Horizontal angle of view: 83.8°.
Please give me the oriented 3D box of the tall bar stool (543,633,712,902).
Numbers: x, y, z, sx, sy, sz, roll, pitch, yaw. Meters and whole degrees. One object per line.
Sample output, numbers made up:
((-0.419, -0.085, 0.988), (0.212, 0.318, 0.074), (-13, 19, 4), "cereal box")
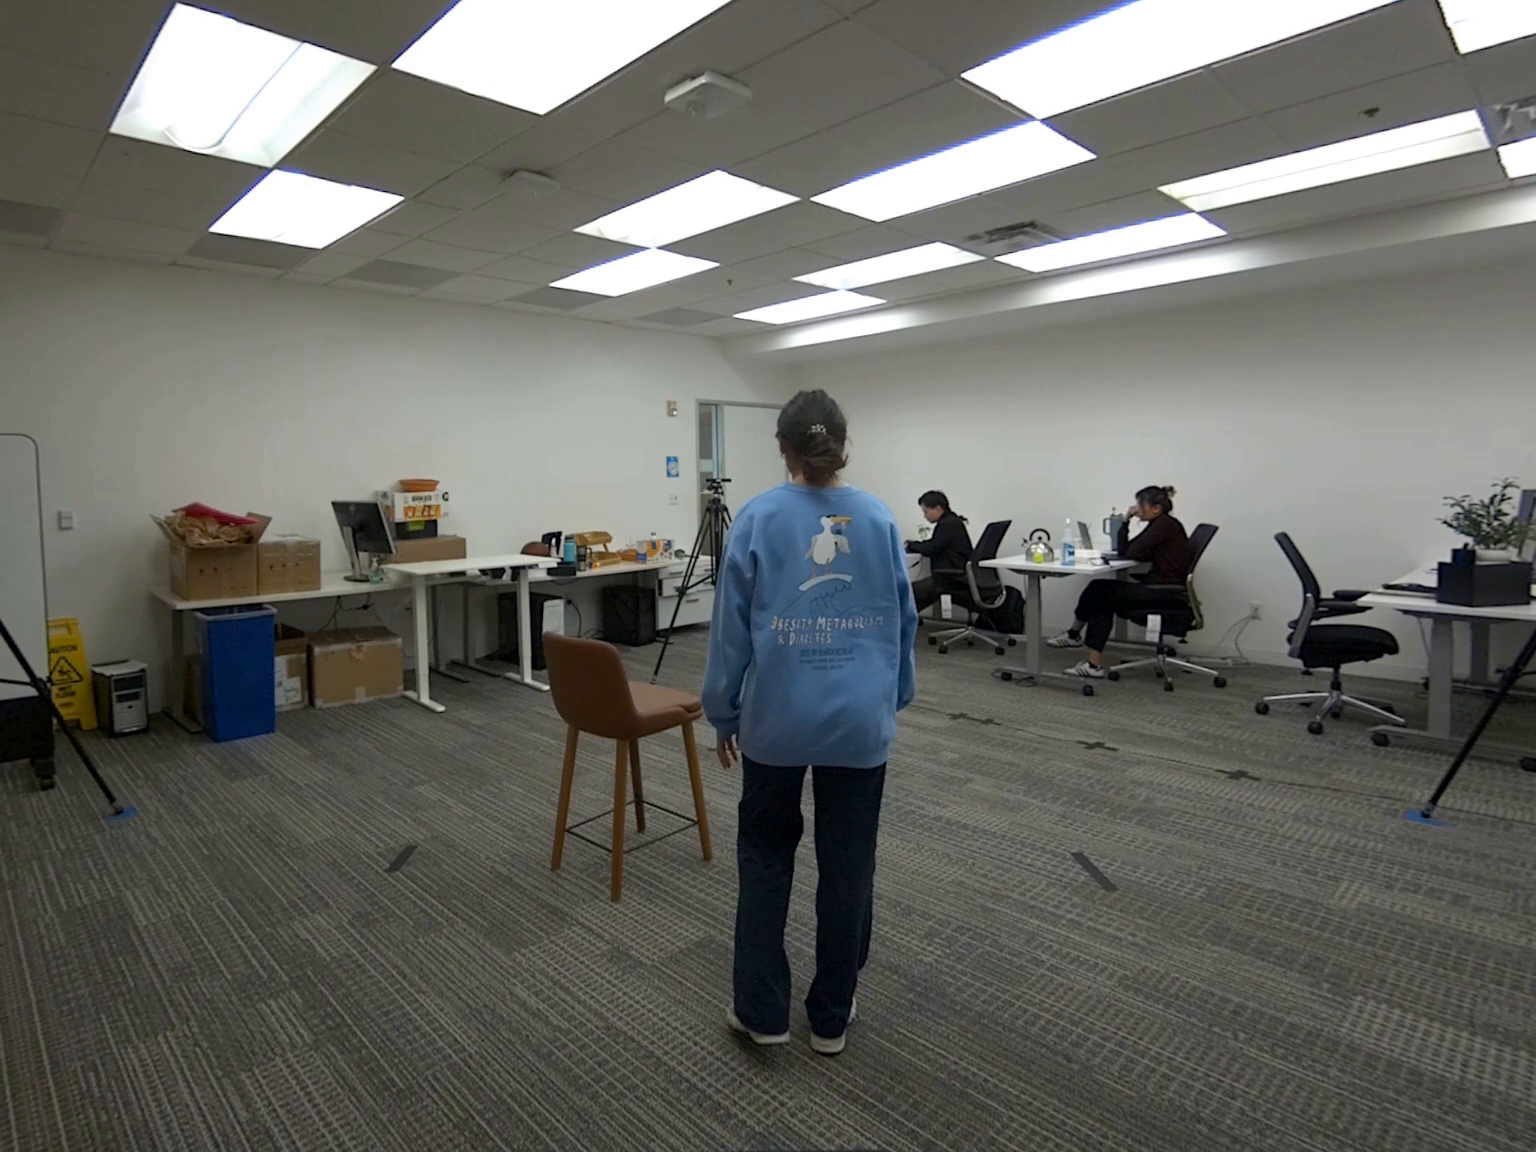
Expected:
((-0.516, 0.618, 3.091), (0.470, 0.885, 0.456), (3, 8, 43), "tall bar stool")
